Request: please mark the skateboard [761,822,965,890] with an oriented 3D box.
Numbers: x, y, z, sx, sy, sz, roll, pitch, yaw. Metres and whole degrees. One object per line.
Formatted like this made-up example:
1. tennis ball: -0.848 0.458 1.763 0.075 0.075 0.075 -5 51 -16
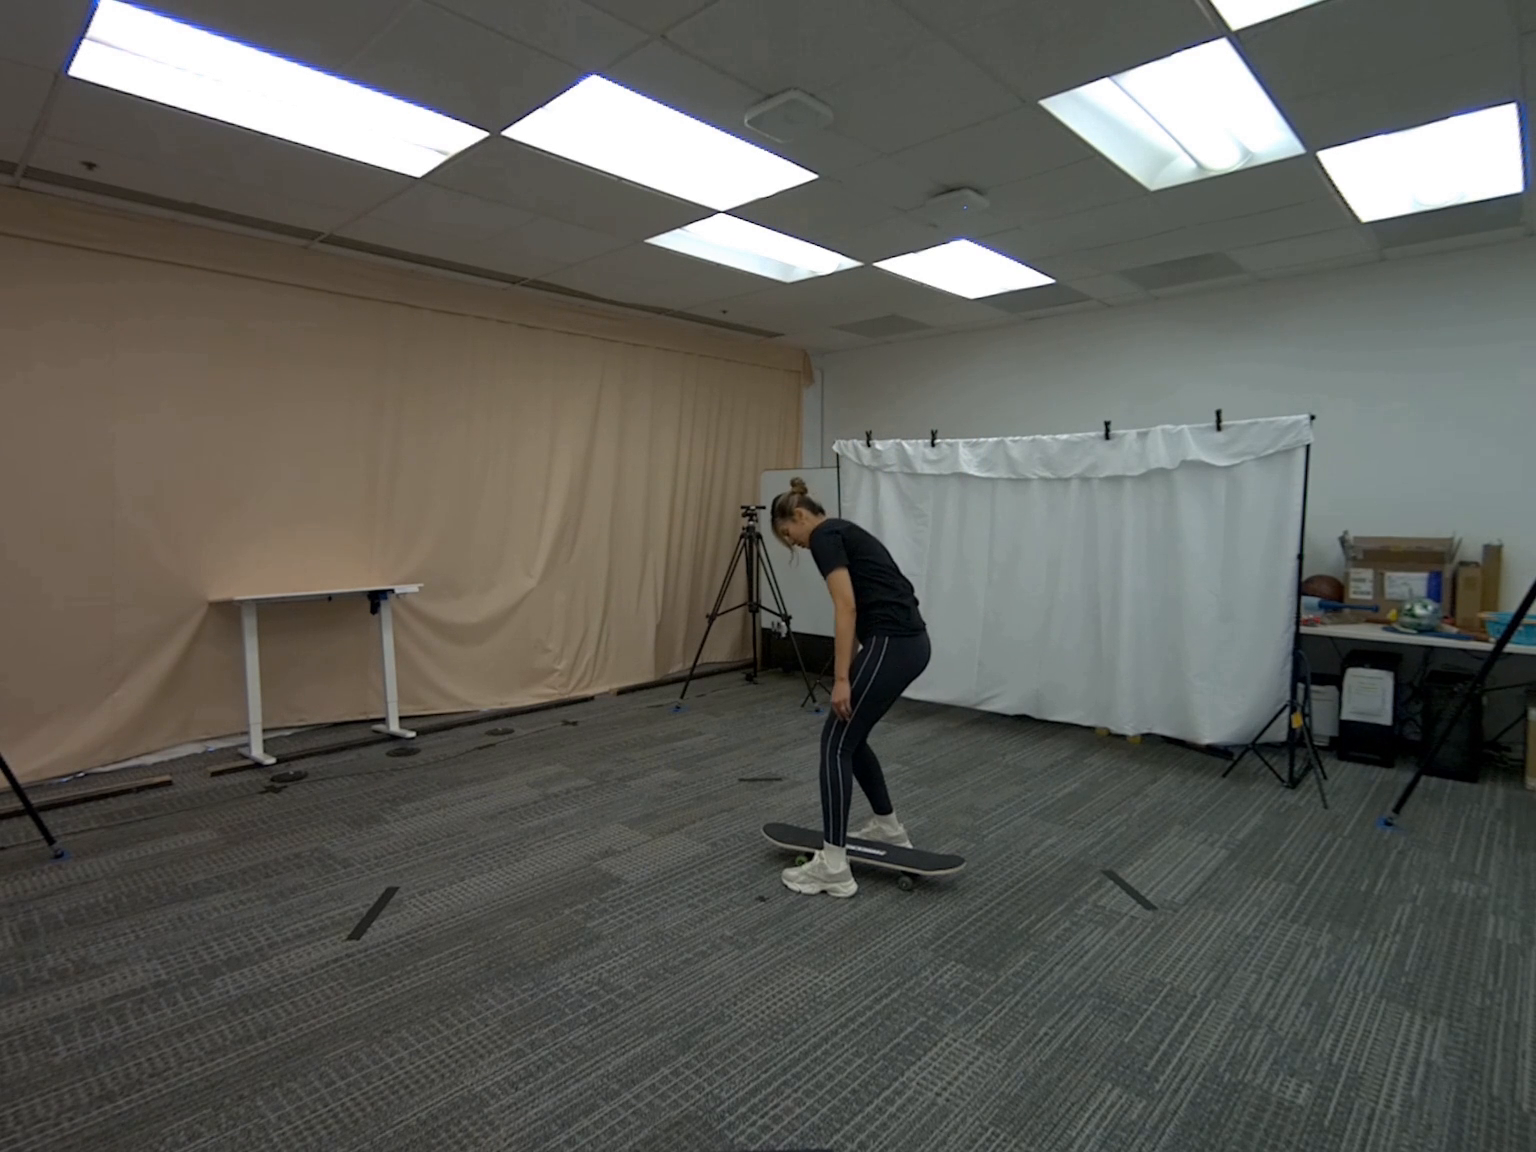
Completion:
1. skateboard: 0.350 1.063 3.204 0.806 0.110 0.189 2 4 26
